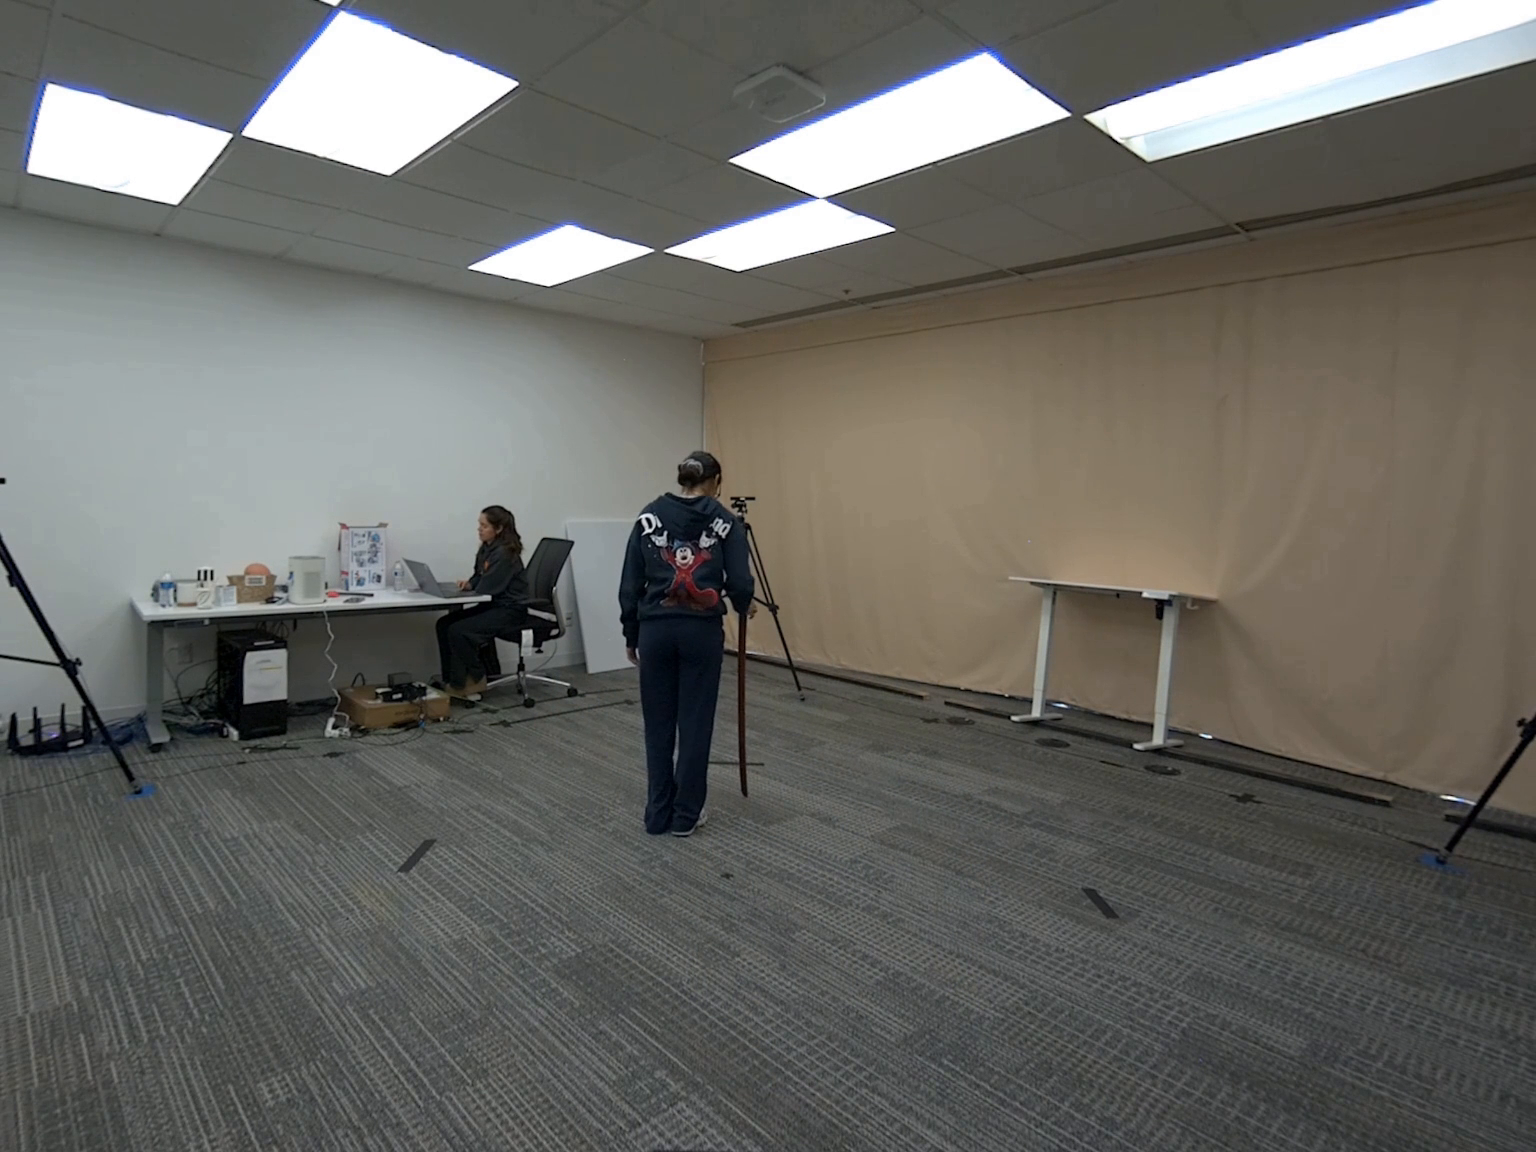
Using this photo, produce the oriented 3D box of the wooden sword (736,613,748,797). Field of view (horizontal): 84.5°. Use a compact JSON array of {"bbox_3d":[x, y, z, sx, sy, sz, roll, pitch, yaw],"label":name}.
[{"bbox_3d":[-0.126,0.558,3.830,0.051,1.015,0.024,0,13,-7],"label":"wooden sword"}]
